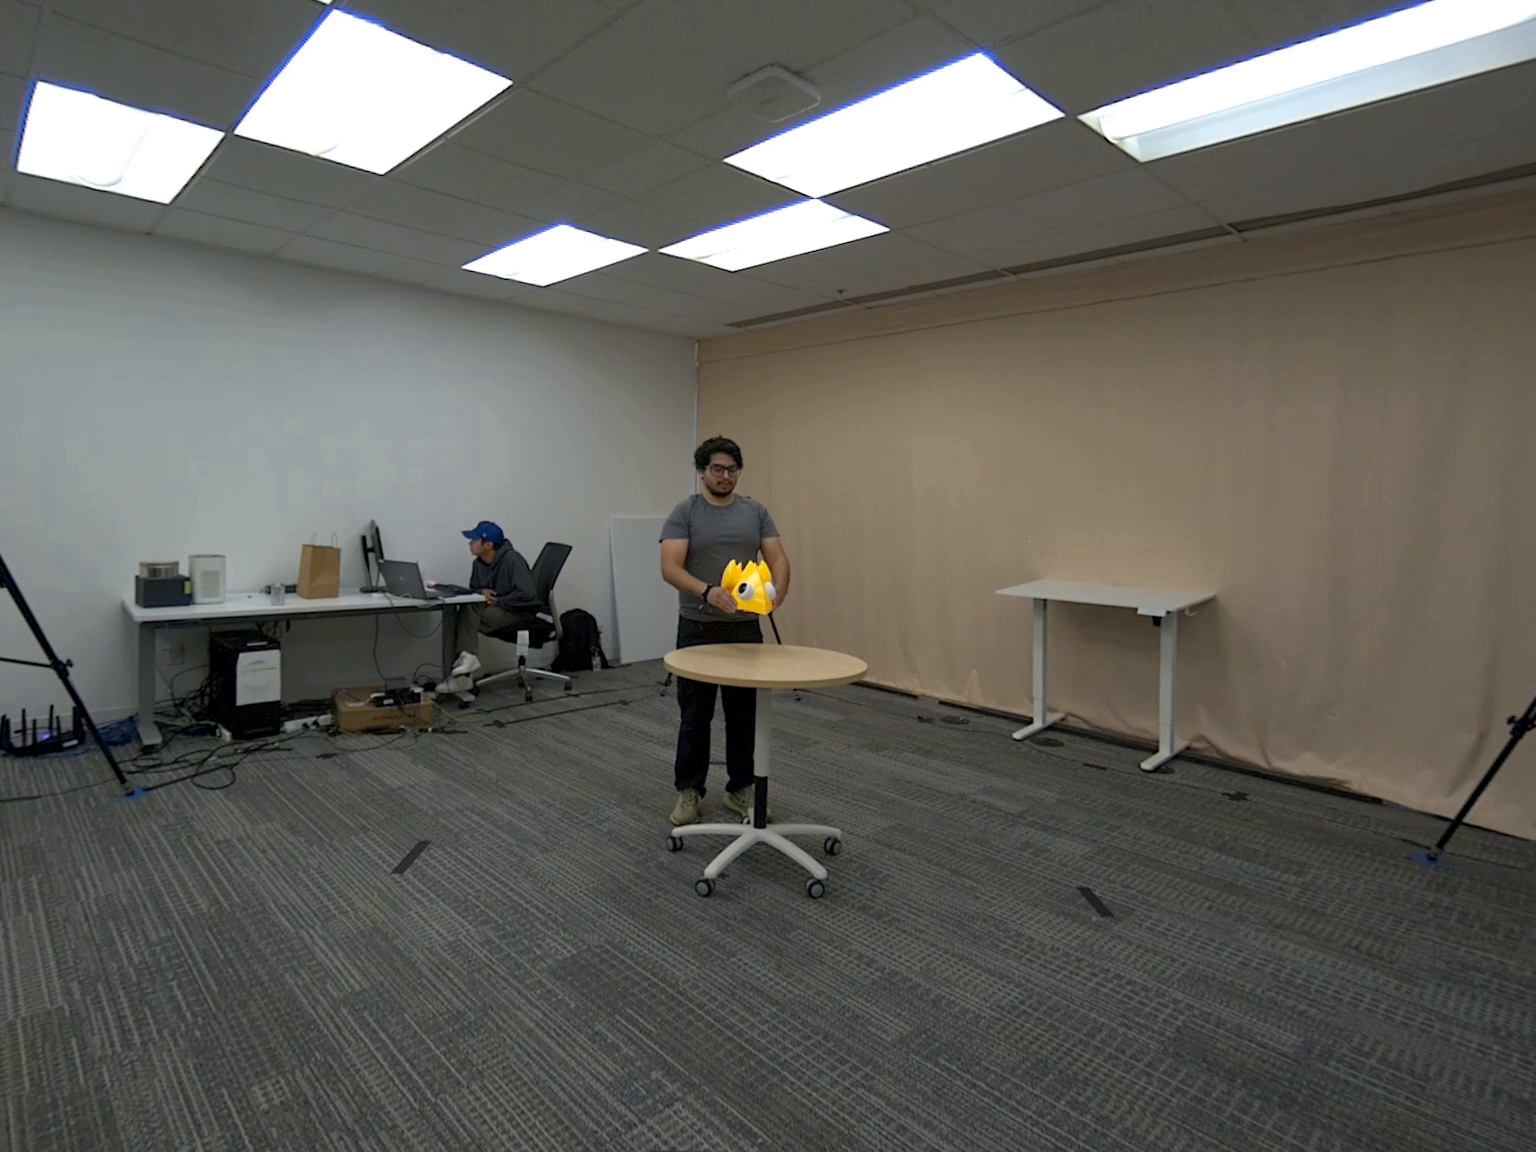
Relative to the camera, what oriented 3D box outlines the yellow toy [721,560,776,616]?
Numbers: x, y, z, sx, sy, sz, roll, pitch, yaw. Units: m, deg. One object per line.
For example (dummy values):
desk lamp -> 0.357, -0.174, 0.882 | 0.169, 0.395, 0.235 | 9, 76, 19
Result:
yellow toy -> -0.058, 0.056, 3.276 | 0.201, 0.191, 0.236 | 3, 14, -22
